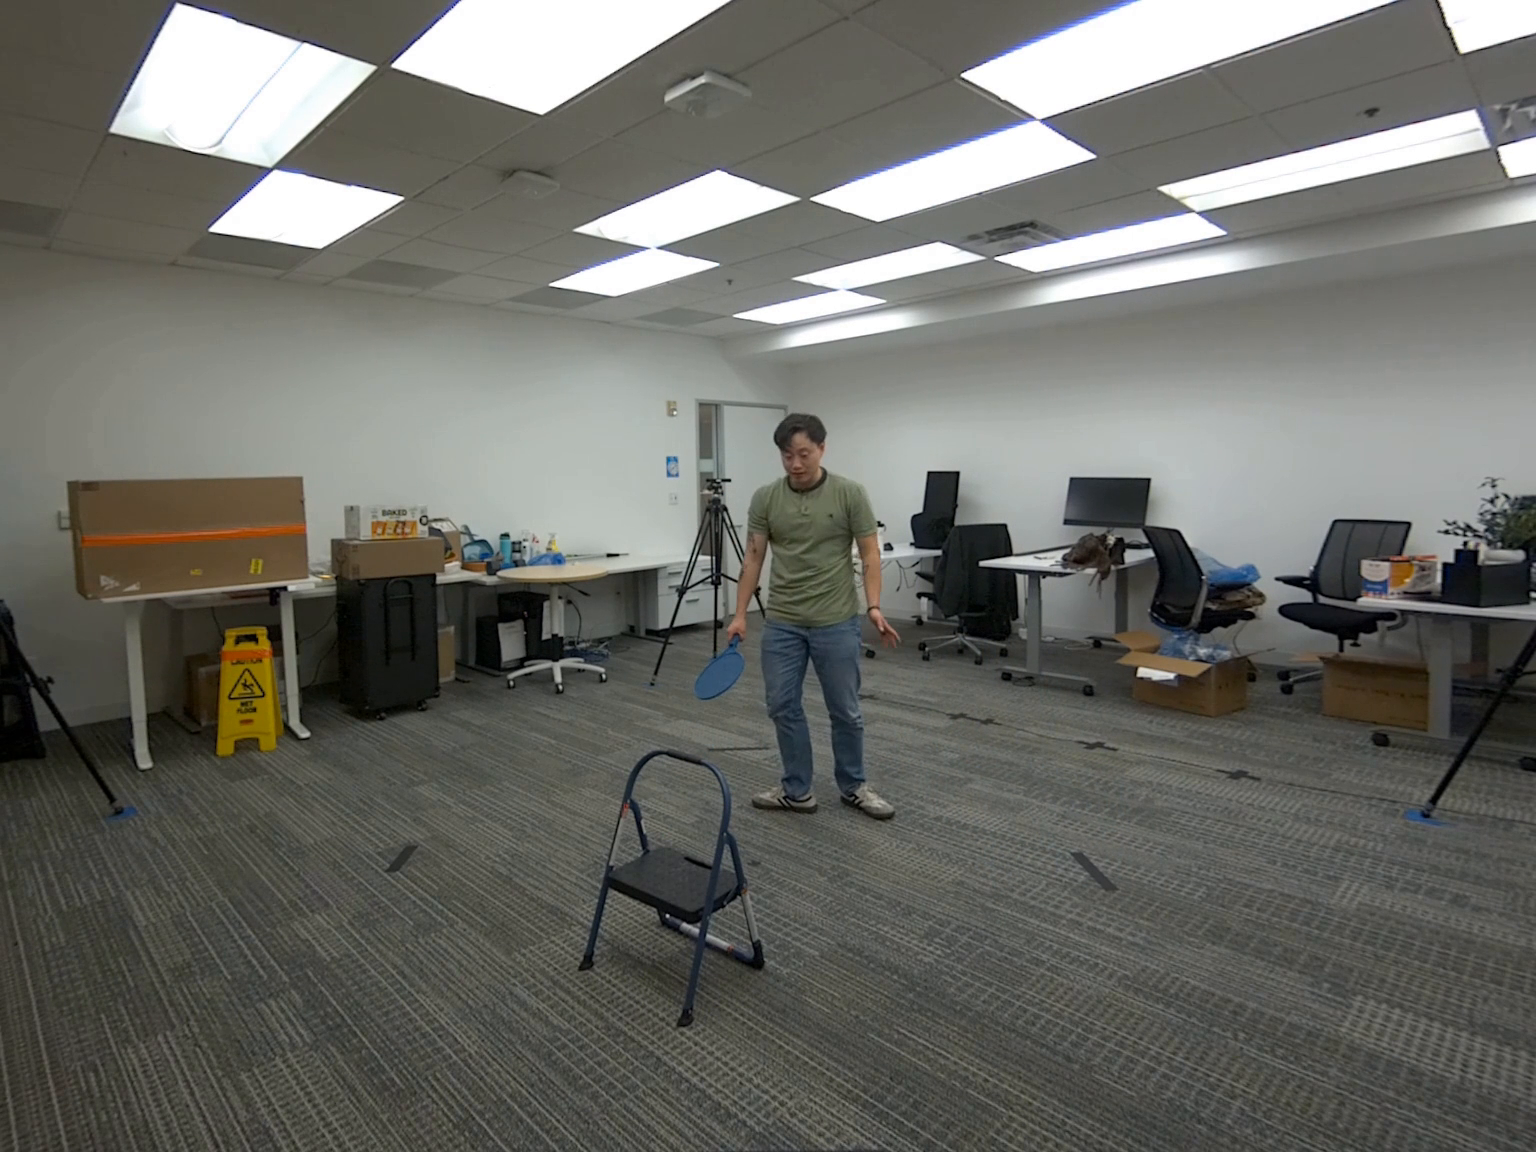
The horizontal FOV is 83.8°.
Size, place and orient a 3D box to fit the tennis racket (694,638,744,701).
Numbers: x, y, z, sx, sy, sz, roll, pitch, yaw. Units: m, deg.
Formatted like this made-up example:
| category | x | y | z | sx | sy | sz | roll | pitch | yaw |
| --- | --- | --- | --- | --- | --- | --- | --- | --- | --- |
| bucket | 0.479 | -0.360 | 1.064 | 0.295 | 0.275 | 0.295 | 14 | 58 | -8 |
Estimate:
| category | x | y | z | sx | sy | sz | roll | pitch | yaw |
| --- | --- | --- | --- | --- | --- | --- | --- | --- | --- |
| tennis racket | -0.153 | 0.336 | 3.395 | 0.217 | 0.031 | 0.437 | -20 | 24 | 27 |
